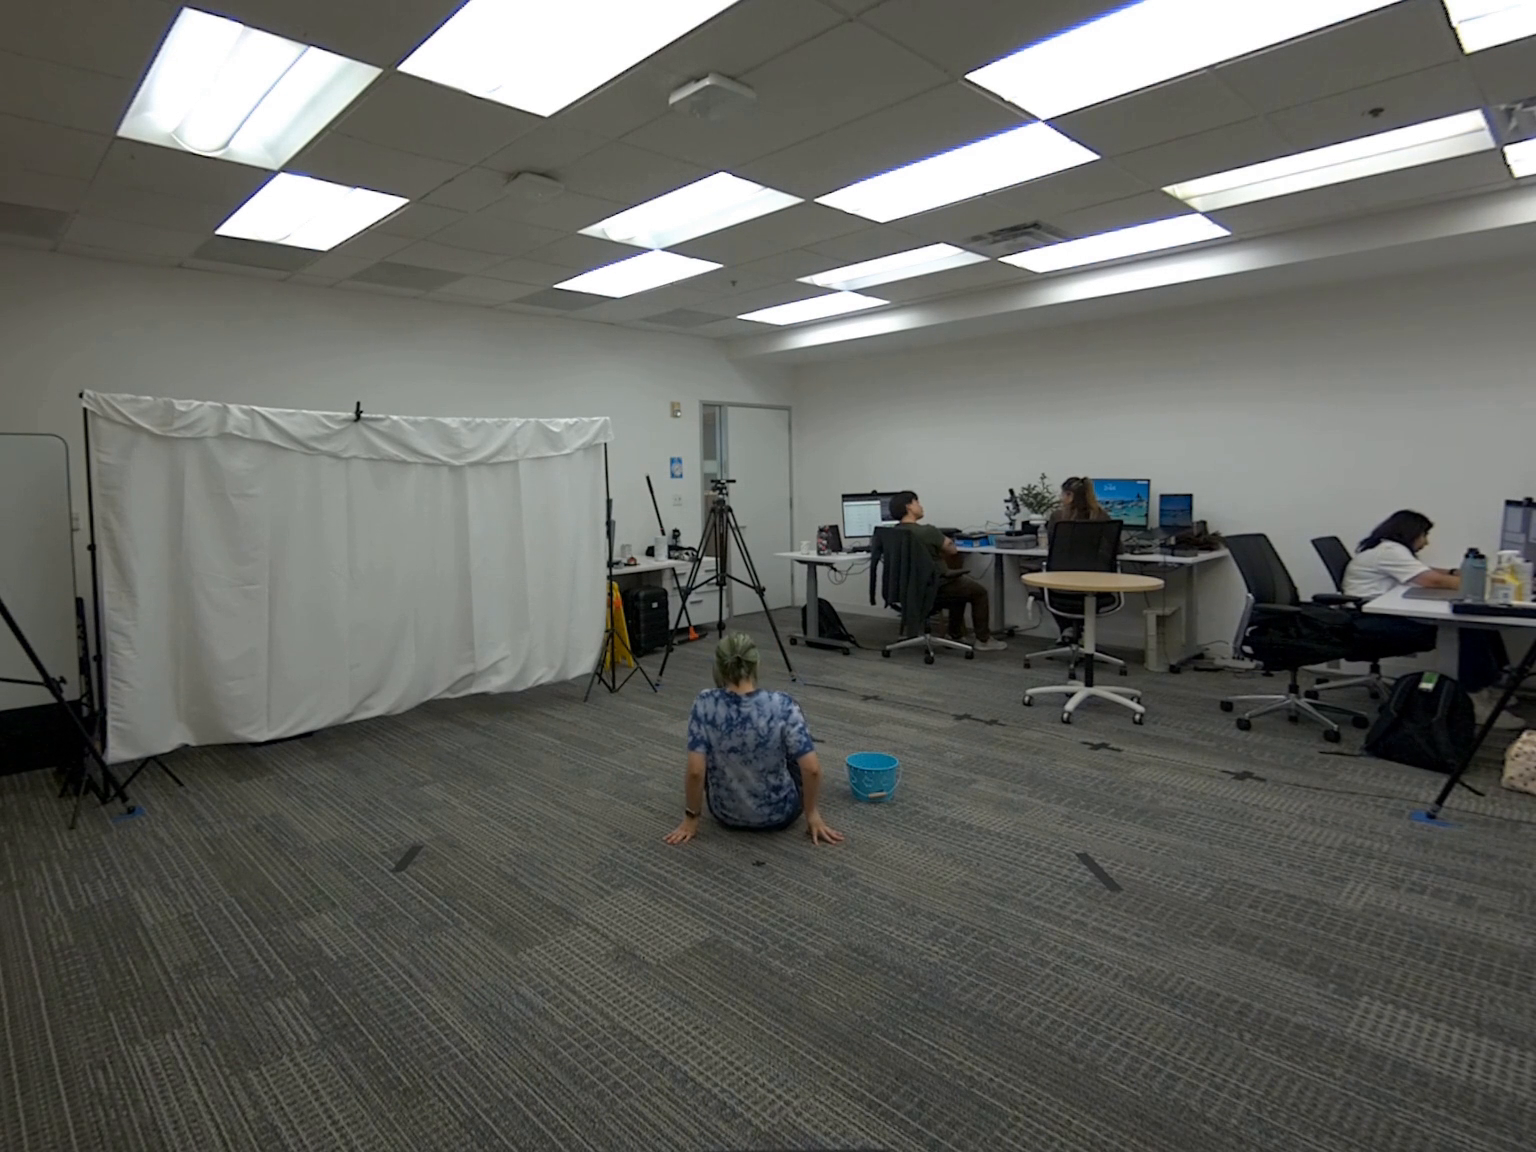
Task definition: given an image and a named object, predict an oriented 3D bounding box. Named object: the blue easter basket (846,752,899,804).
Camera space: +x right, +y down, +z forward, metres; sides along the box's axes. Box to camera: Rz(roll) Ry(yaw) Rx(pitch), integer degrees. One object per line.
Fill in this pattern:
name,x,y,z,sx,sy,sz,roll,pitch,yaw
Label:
blue easter basket,0.451,0.882,3.758,0.243,0.155,0.245,-1,6,-2
